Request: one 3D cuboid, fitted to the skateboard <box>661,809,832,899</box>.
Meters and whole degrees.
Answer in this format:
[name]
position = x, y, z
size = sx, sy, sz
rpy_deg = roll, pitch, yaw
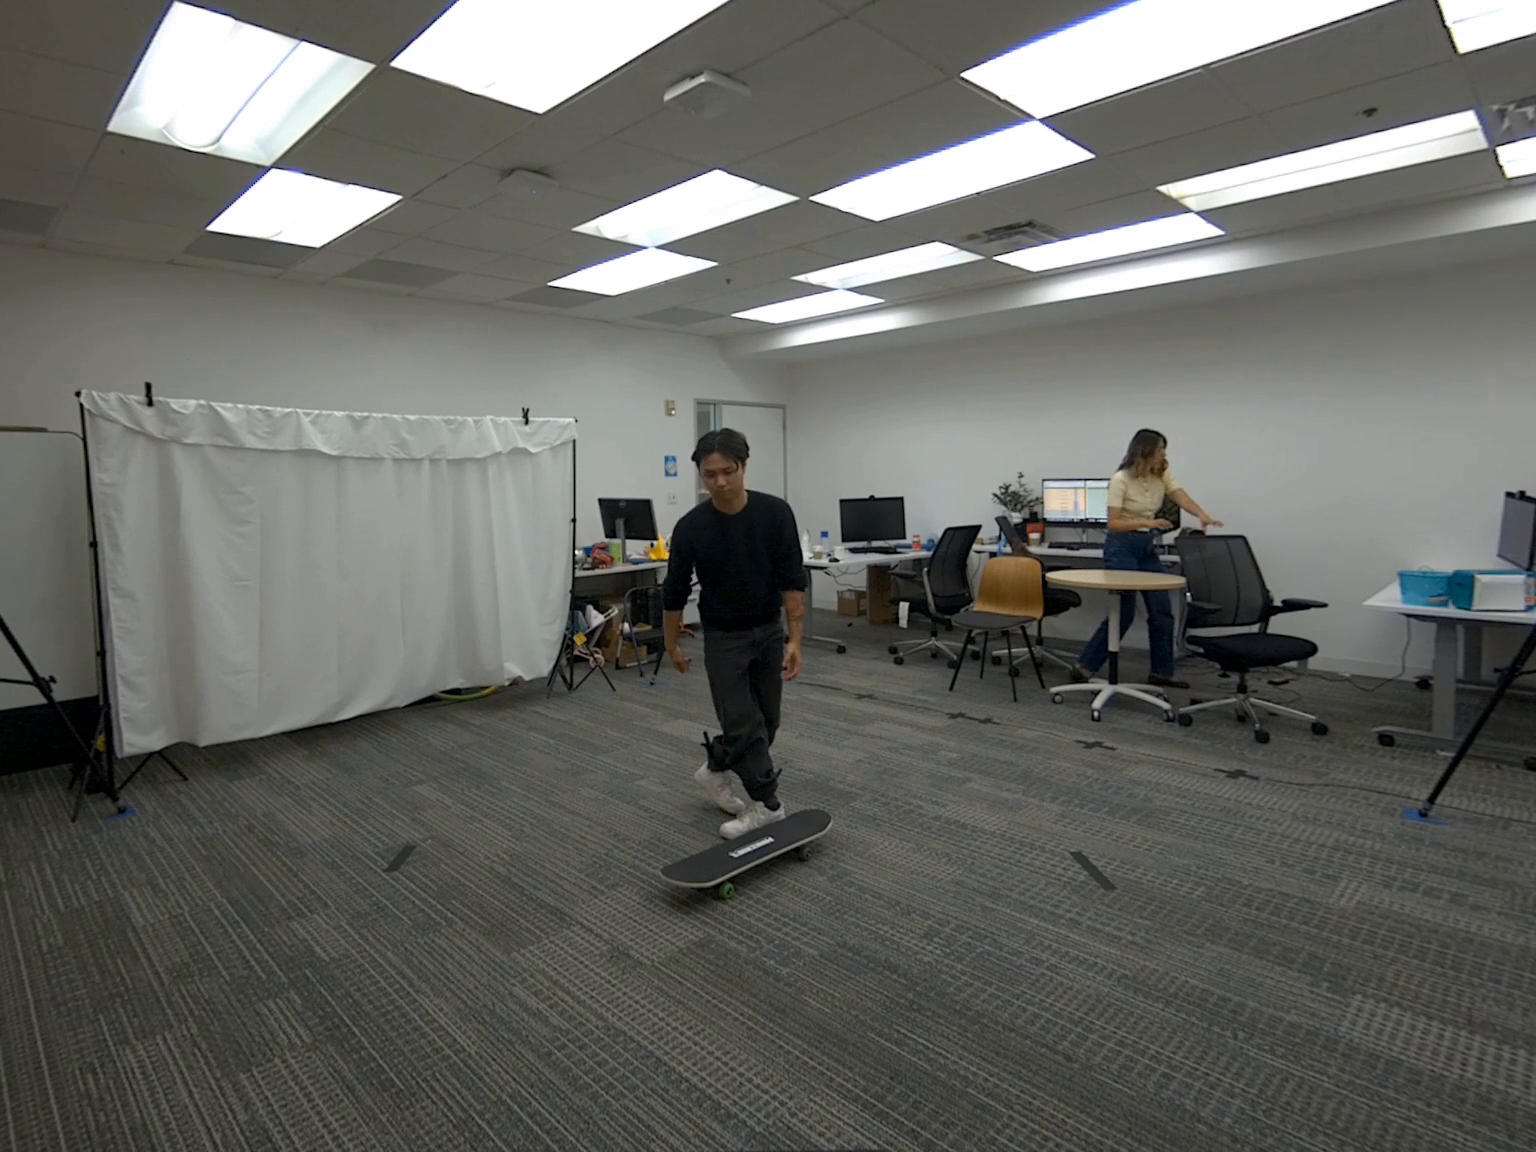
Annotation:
[skateboard]
position = -0.057, 0.991, 3.038
size = 0.199, 0.110, 0.765
rpy_deg = 5, 9, 44
